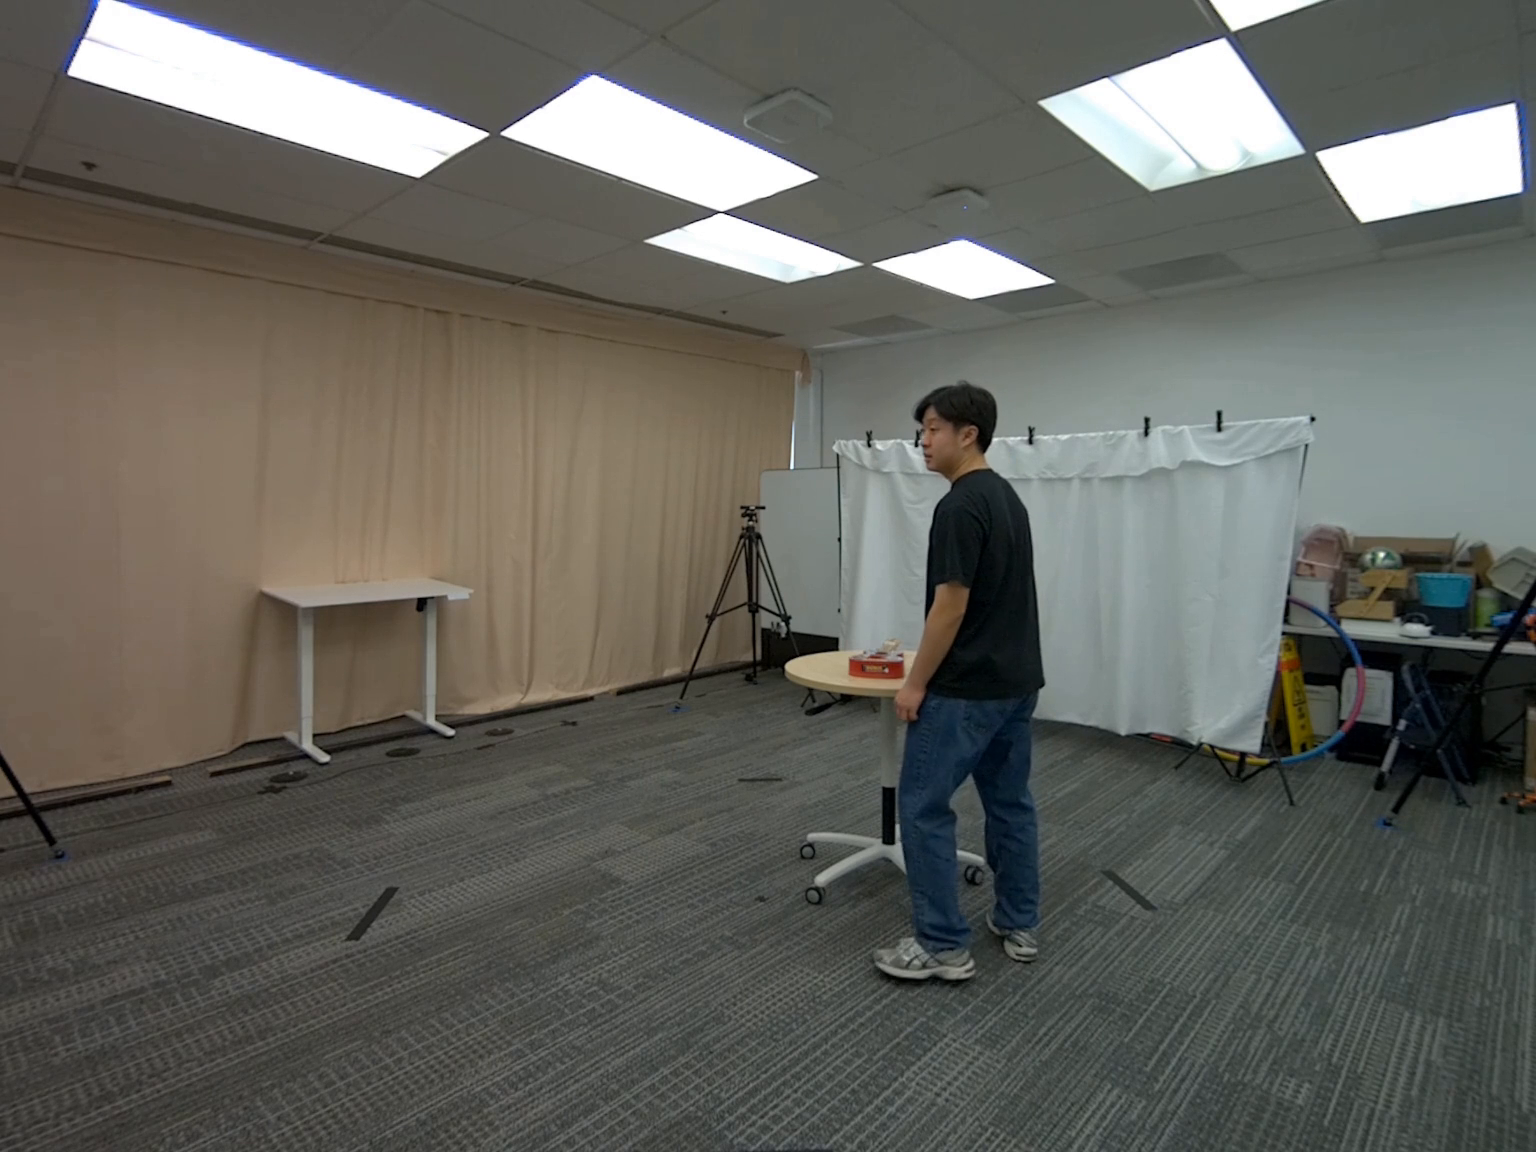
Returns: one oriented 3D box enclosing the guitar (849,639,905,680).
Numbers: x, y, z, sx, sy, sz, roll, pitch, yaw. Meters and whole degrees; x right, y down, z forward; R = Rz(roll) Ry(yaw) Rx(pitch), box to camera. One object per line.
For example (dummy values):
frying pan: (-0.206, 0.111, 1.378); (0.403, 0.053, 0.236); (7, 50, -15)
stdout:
guitar: (0.473, 0.303, 3.114); (0.198, 0.070, 0.486); (2, 6, 26)
